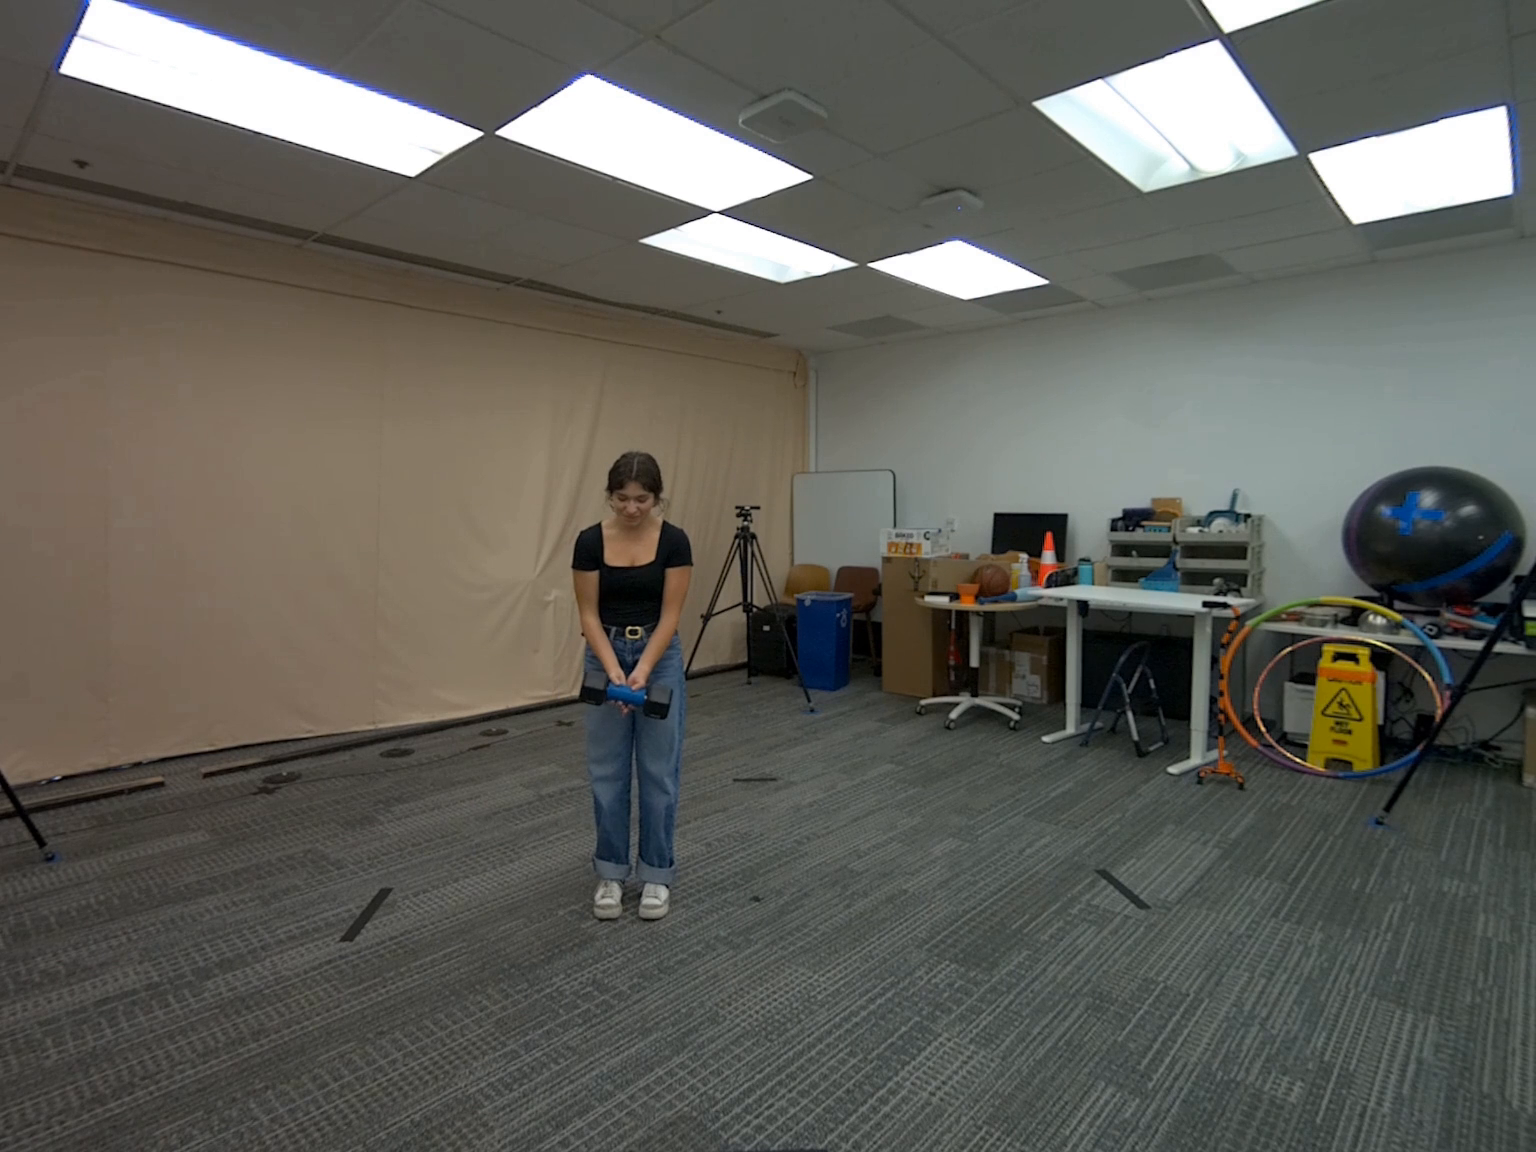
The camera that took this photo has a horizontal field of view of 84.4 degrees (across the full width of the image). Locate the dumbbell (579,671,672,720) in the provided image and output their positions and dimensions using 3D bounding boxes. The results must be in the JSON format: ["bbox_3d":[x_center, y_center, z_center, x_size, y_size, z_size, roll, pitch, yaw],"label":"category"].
[{"bbox_3d":[-0.458,0.374,2.710,0.292,0.124,0.108,11,-39,-4],"label":"dumbbell"}]
